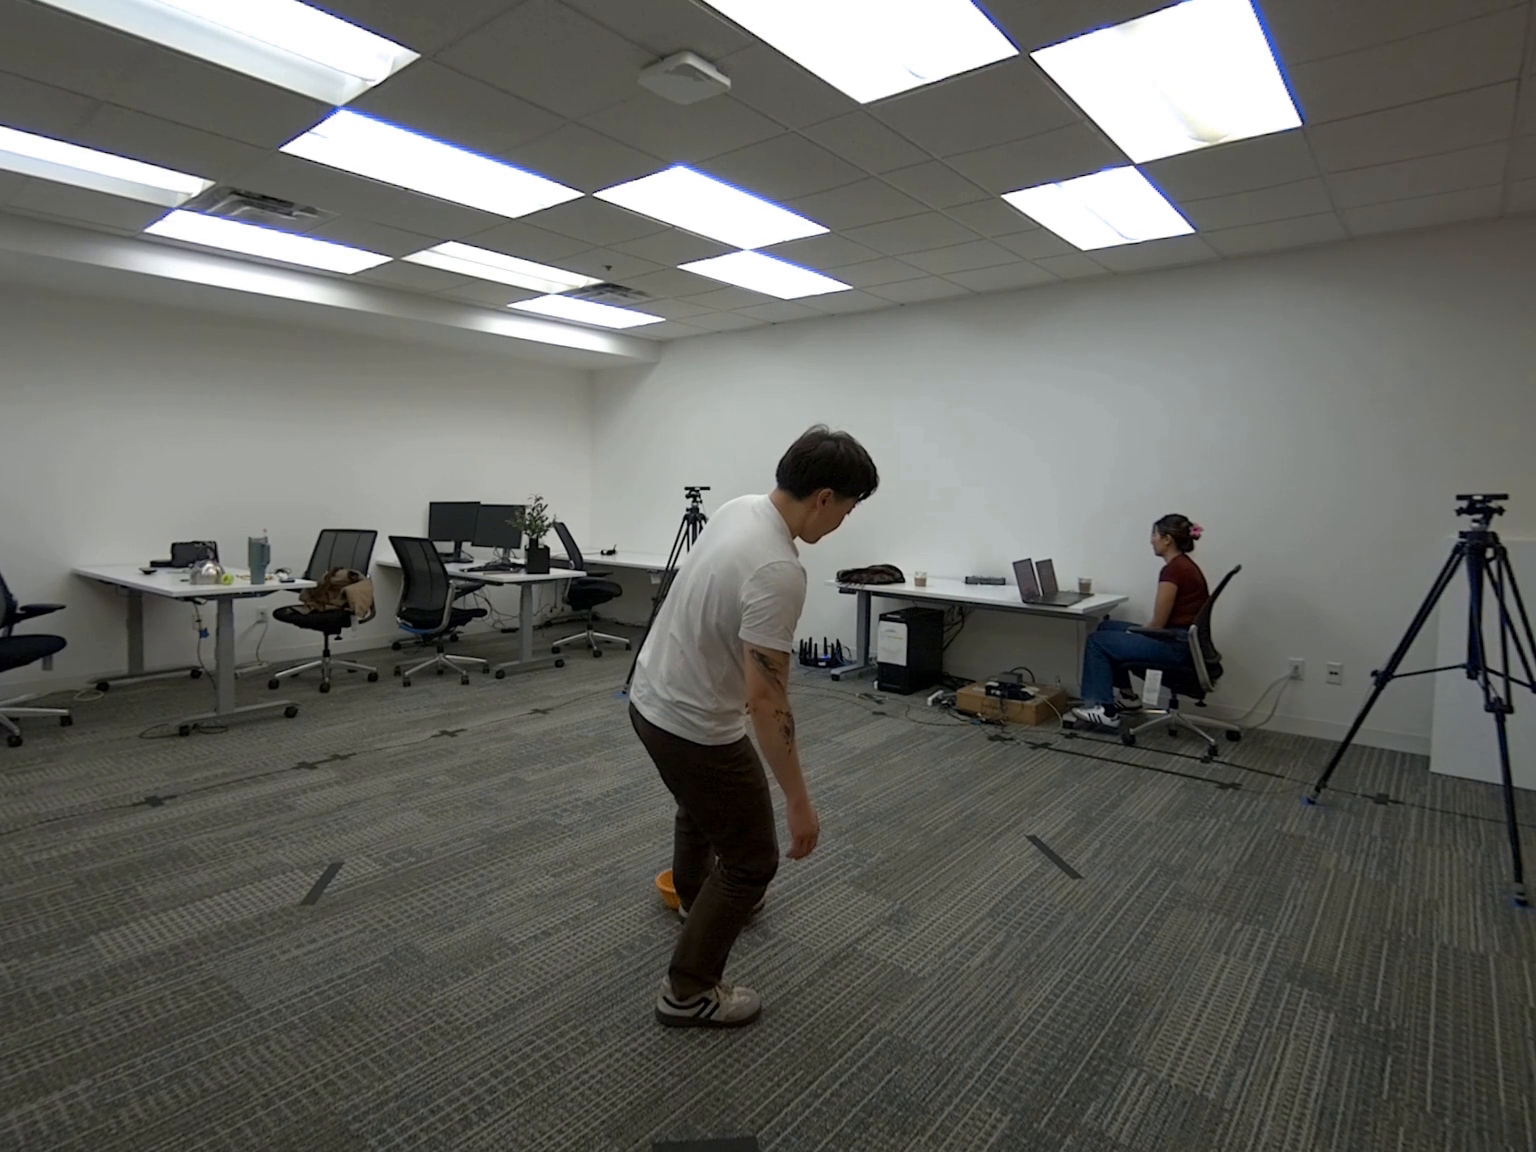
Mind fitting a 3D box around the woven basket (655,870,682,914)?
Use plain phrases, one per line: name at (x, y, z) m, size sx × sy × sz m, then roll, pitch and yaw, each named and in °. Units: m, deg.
woven basket at (-0.213, 1.036, 2.855) m, size 0.344 × 0.073 × 0.257 m, roll -1°, pitch 1°, yaw -18°
